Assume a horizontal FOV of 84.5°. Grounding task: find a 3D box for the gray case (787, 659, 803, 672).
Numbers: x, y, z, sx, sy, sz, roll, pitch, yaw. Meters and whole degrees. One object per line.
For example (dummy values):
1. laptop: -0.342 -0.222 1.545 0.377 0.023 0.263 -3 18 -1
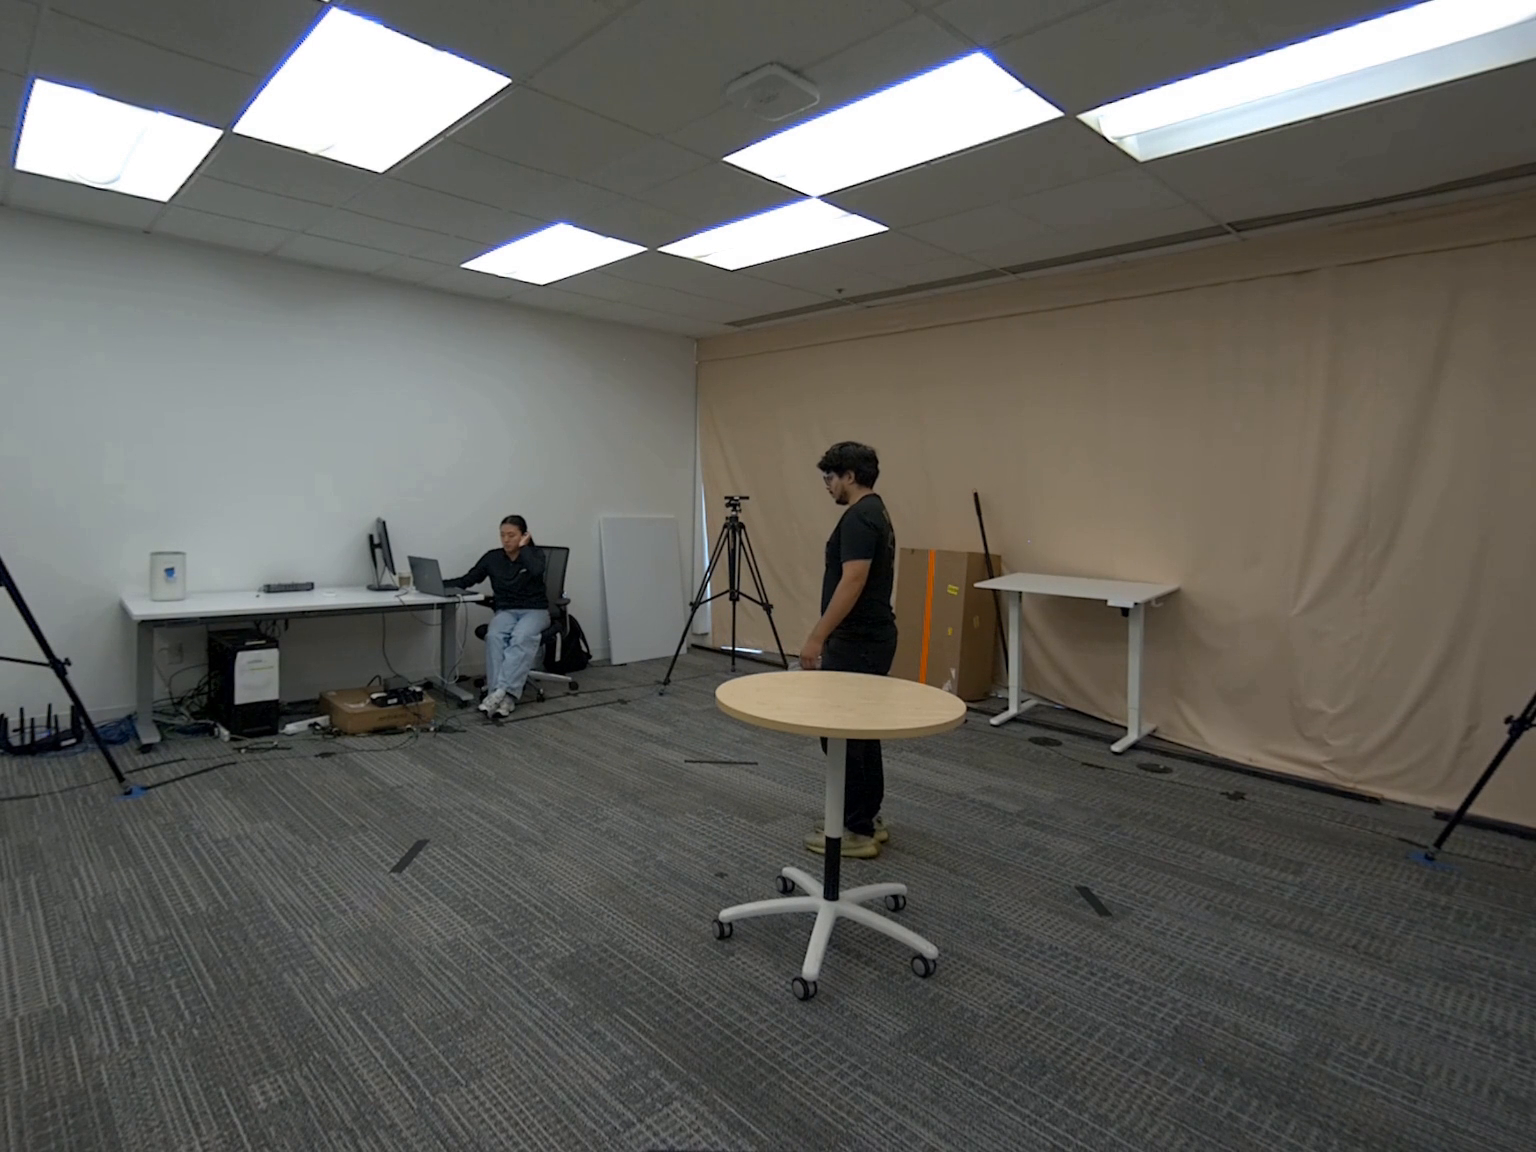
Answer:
1. gray case: 0.217 0.495 3.763 0.259 0.258 0.104 -11 11 14
